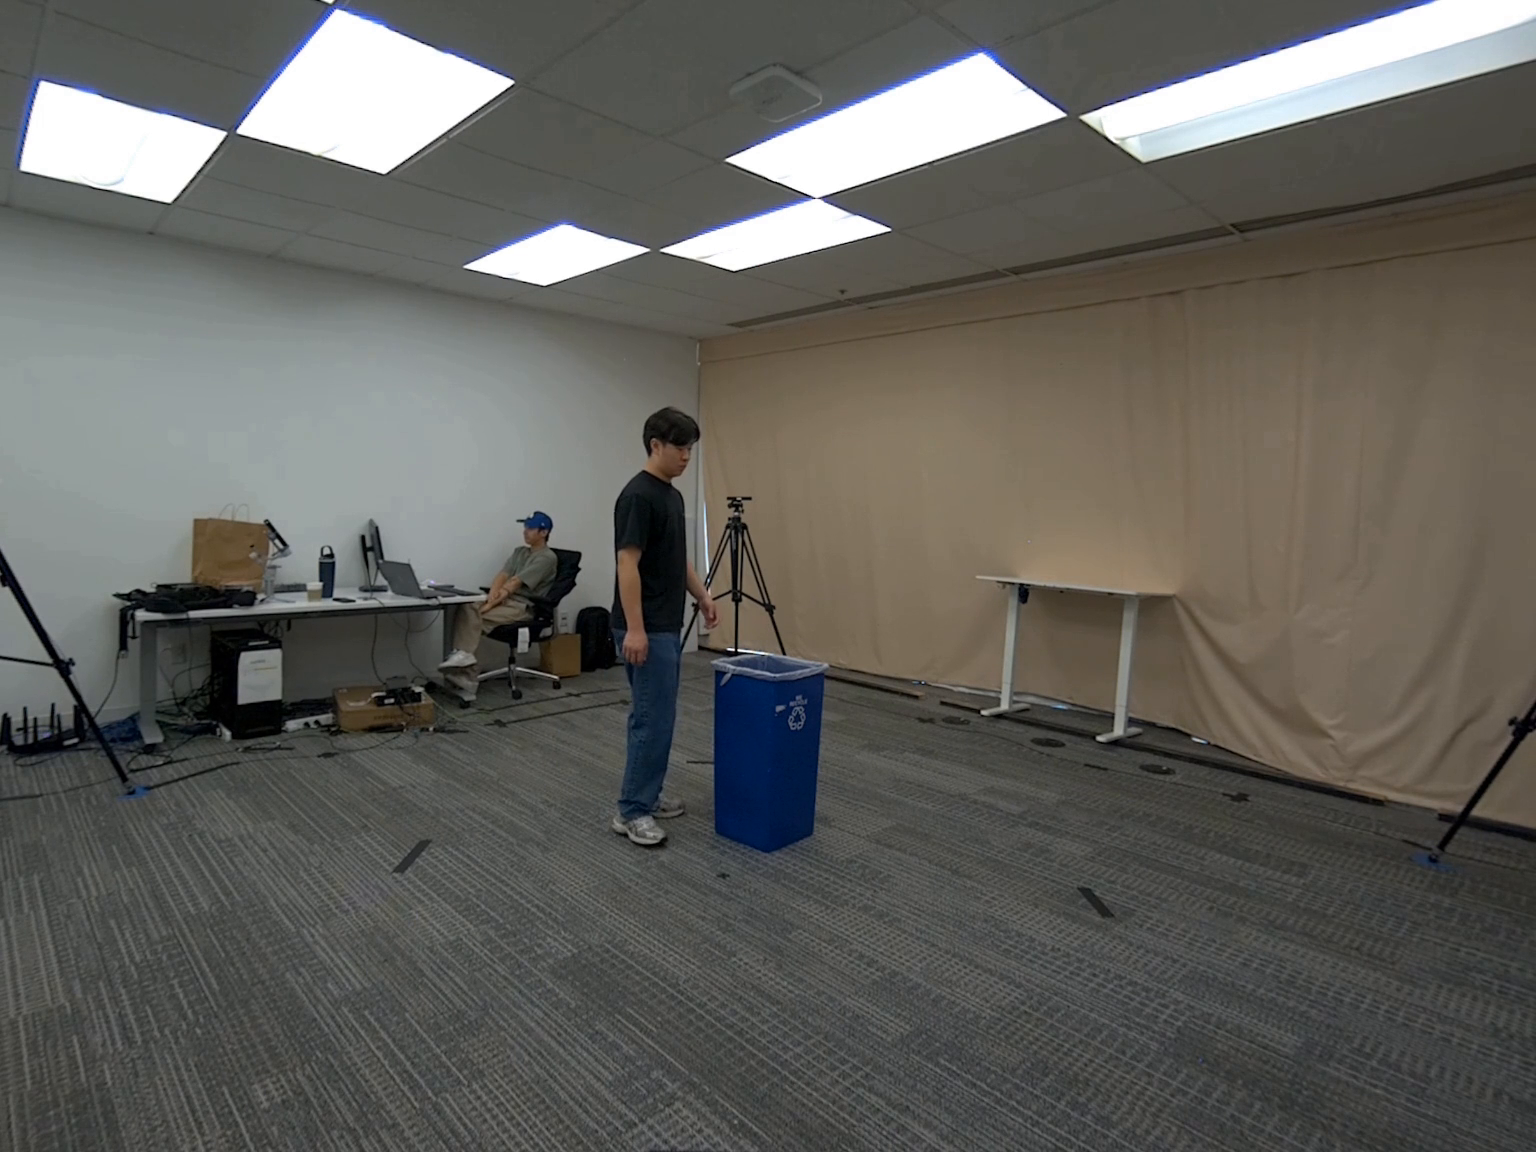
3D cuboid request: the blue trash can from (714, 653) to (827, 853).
[{"bbox_3d":[-0.010,0.715,3.509,0.388,0.712,0.365,6,5,42],"label":"blue trash can"}]
